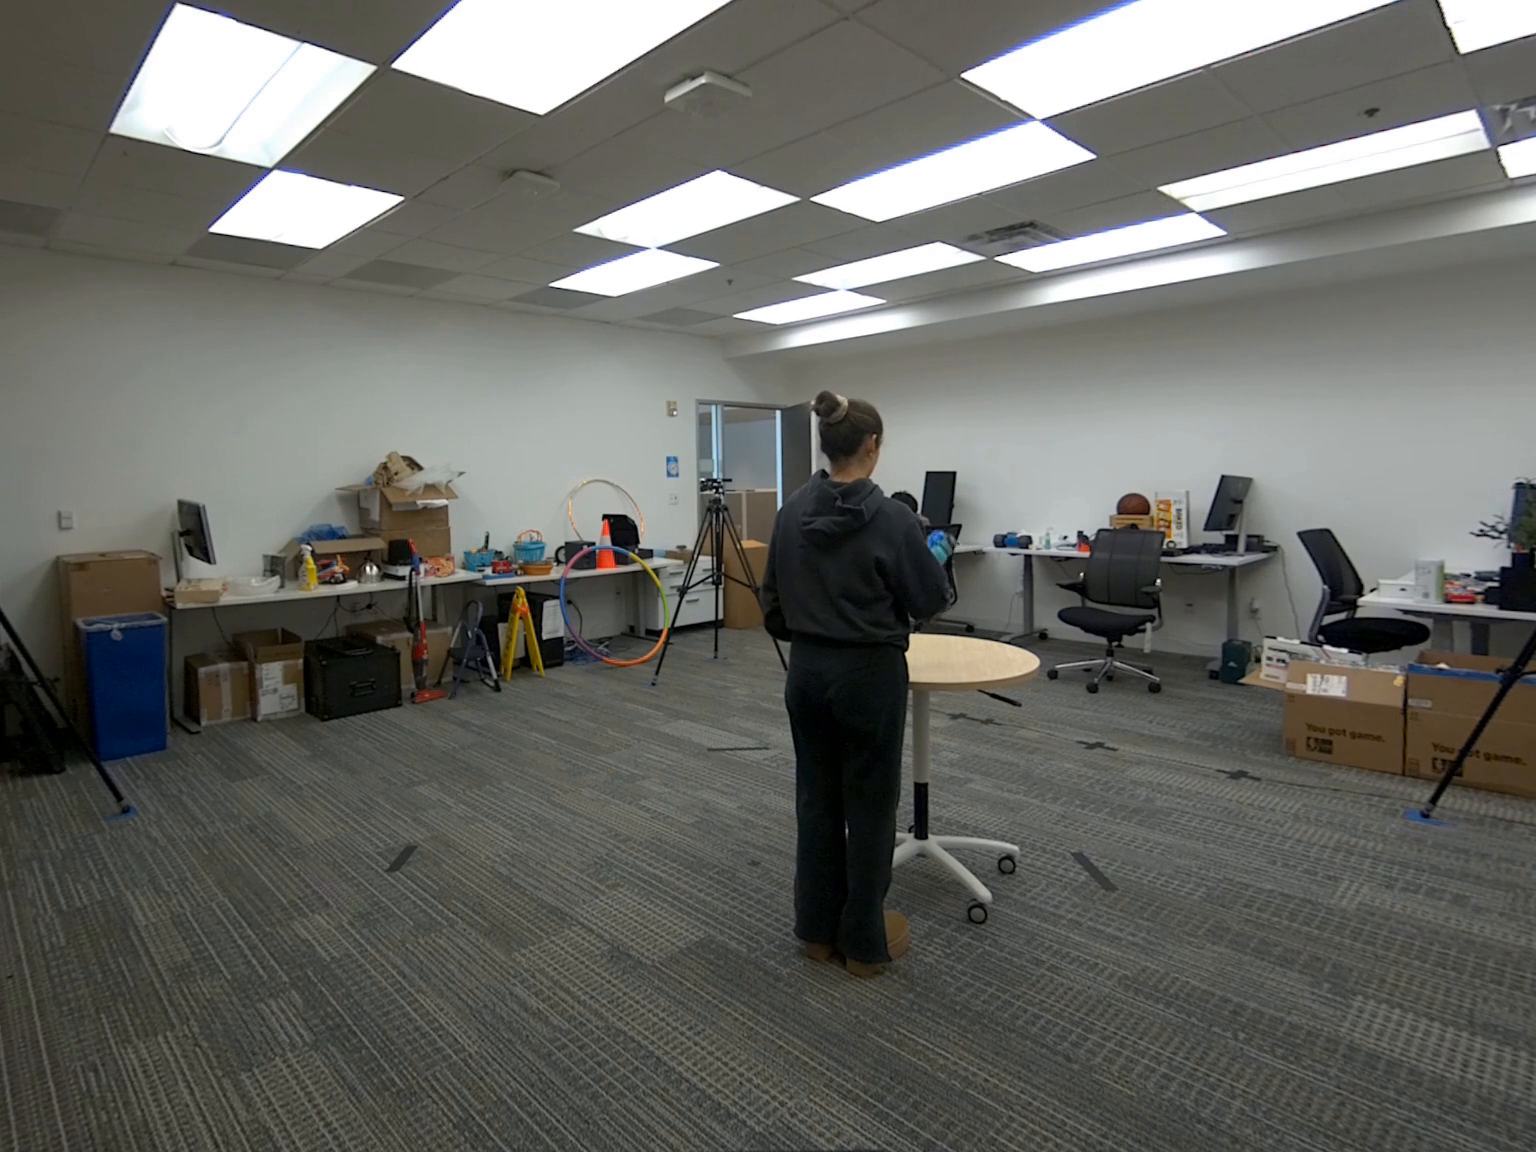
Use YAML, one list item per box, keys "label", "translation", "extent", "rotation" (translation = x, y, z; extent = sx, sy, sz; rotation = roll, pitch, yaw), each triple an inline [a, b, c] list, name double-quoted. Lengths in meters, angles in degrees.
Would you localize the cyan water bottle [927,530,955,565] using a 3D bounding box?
- label: "cyan water bottle"
  translation: [0.483, -0.047, 2.721]
  extent: [0.283, 0.091, 0.093]
  rotation: [-42, 7, -2]
